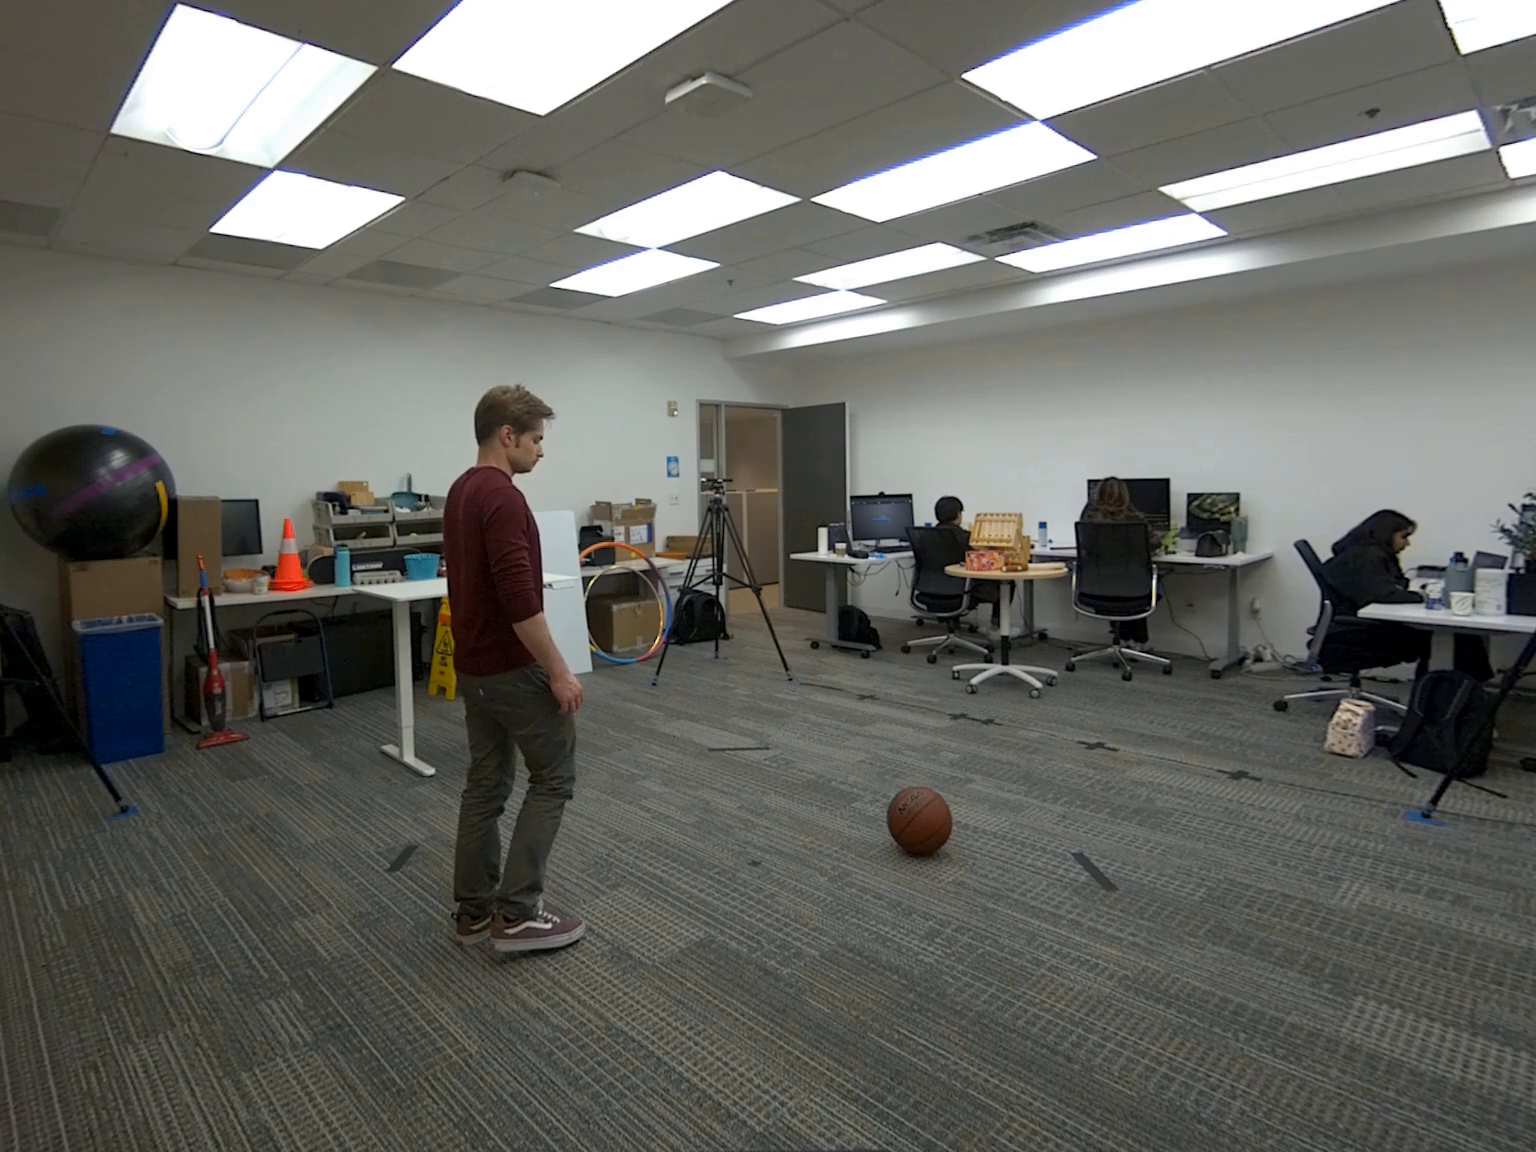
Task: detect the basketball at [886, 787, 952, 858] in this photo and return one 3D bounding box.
[{"bbox_3d":[0.567,0.908,3.172,0.236,0.235,0.237,-1,5,-2],"label":"basketball"}]
